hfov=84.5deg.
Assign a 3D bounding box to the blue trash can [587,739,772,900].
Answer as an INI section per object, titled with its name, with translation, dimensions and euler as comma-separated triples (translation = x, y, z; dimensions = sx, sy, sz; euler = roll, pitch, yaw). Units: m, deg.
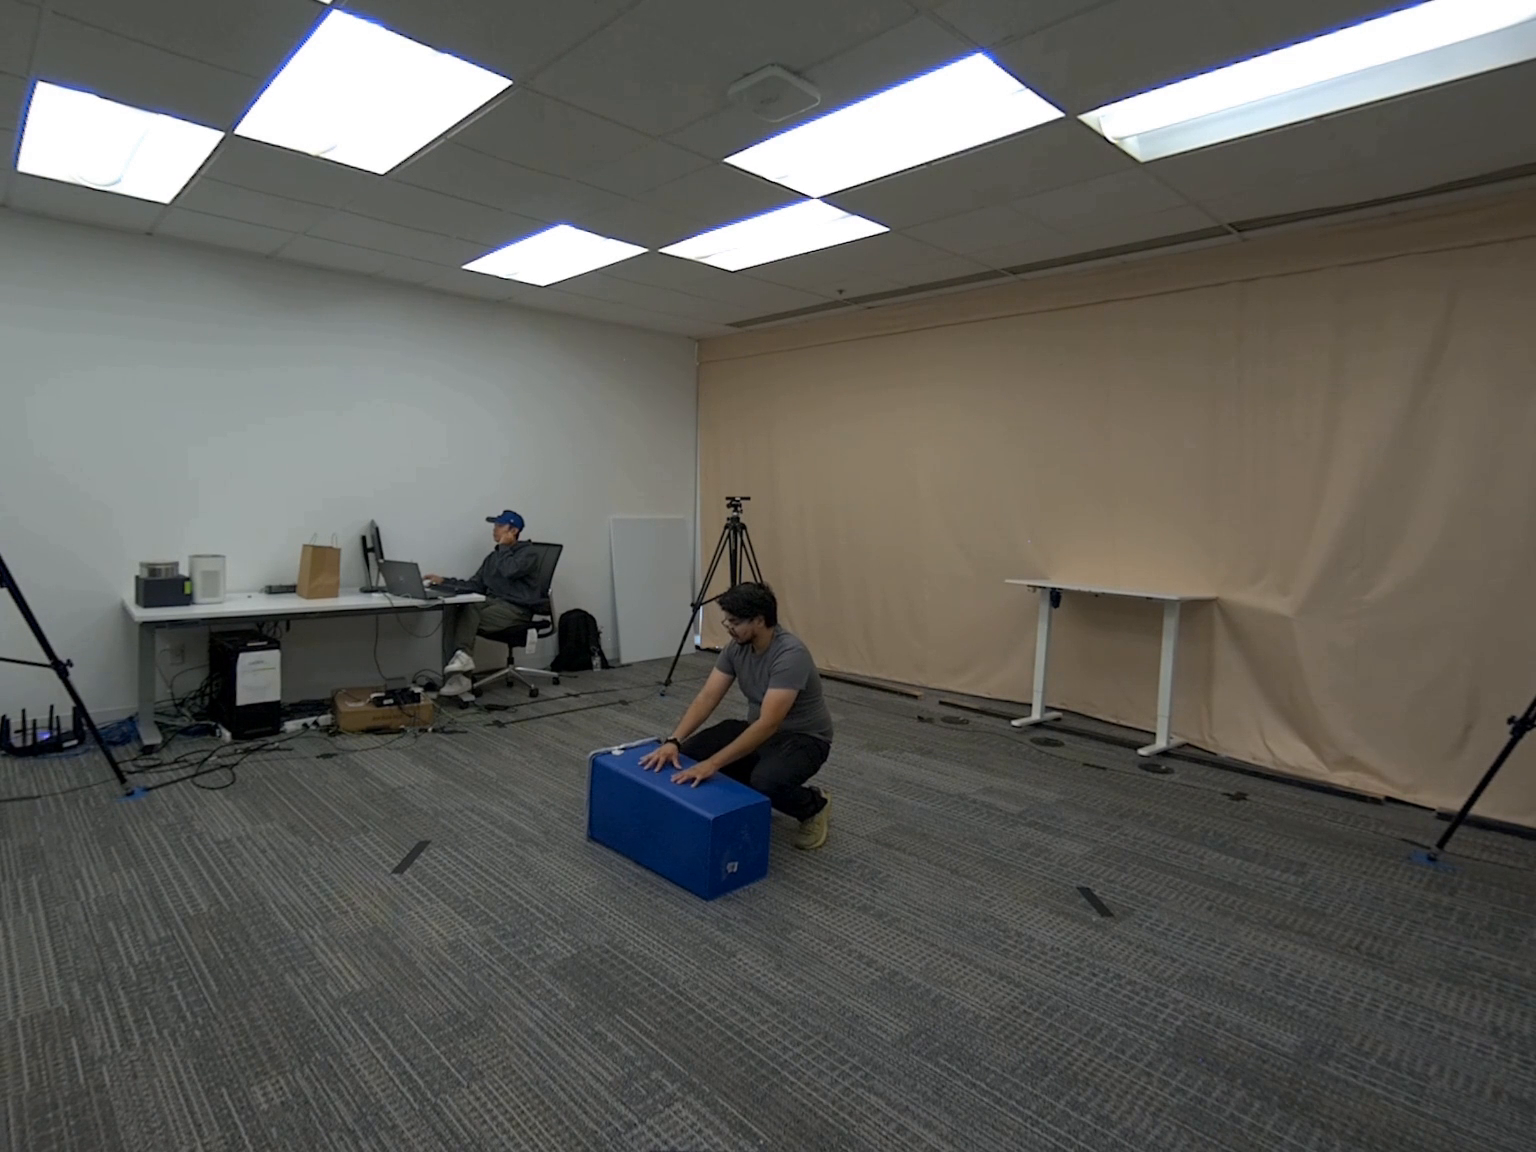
[blue trash can]
translation = -0.360, 0.918, 3.234
dimensions = 0.365, 0.377, 0.732
euler = -2, 7, -43
